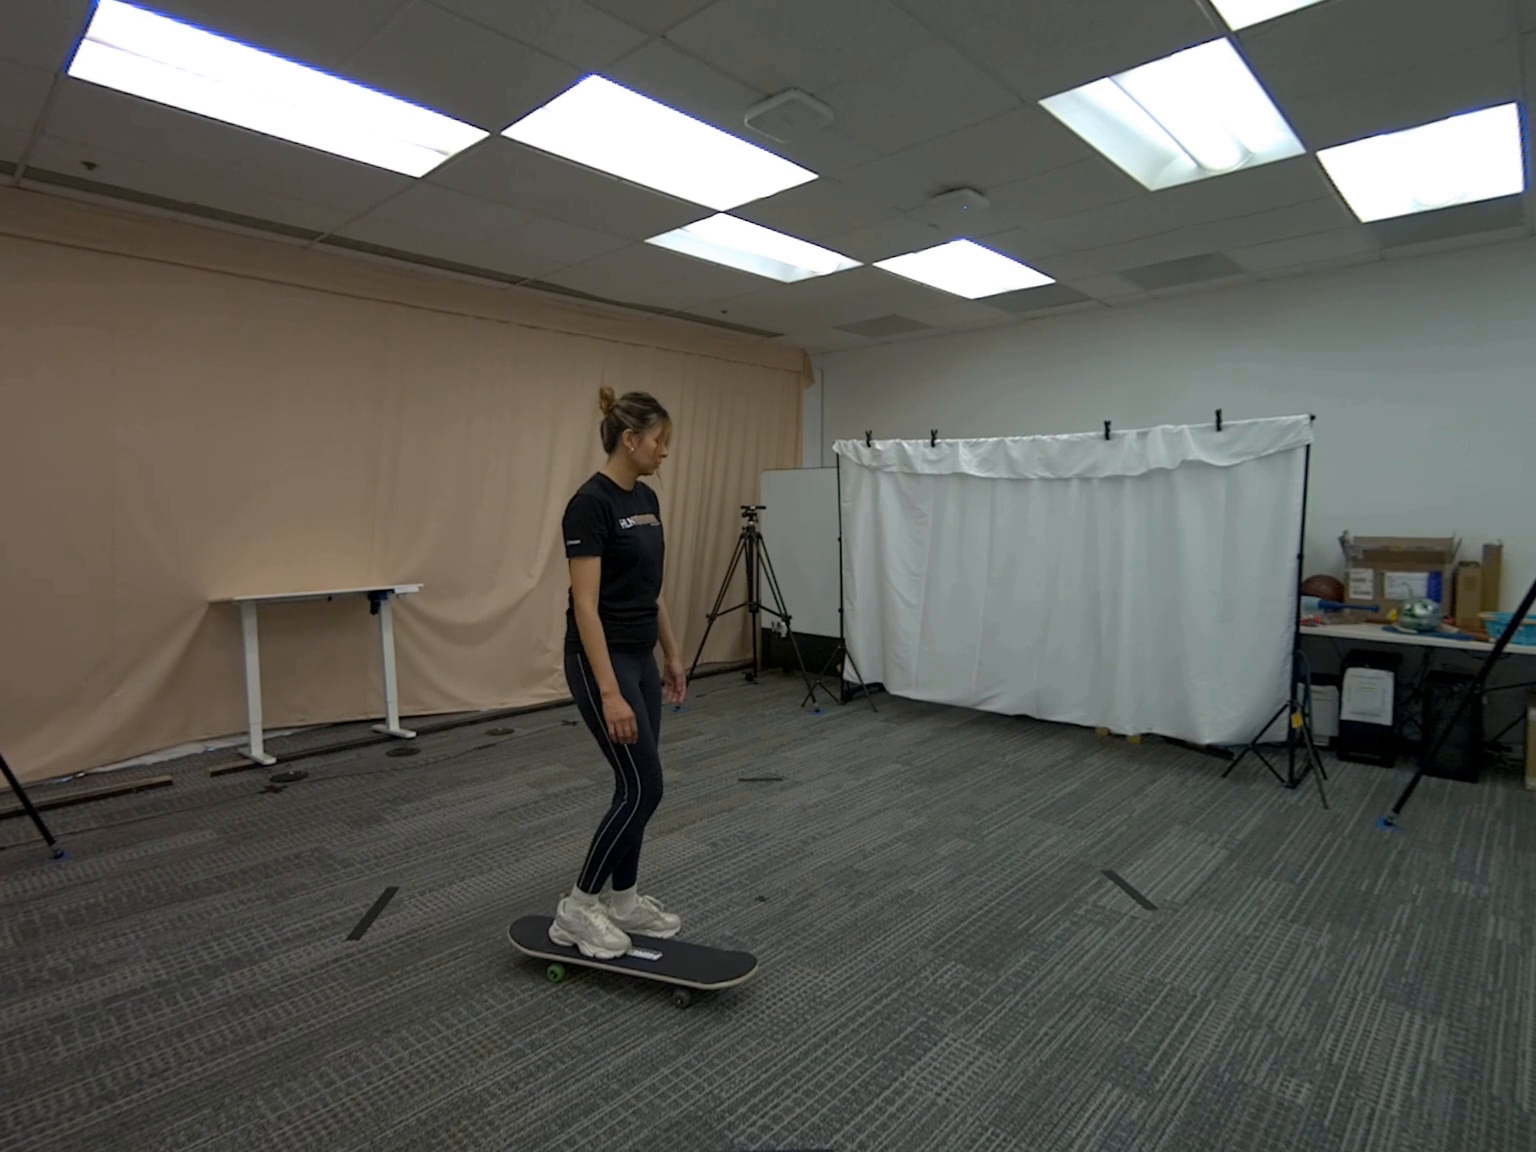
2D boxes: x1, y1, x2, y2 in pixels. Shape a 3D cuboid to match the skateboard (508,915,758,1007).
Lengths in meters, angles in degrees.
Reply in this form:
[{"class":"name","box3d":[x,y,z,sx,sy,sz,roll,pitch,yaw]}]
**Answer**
[{"class":"skateboard","box3d":[-0.399,1.134,2.475,0.801,0.110,0.190,0,5,18]}]
